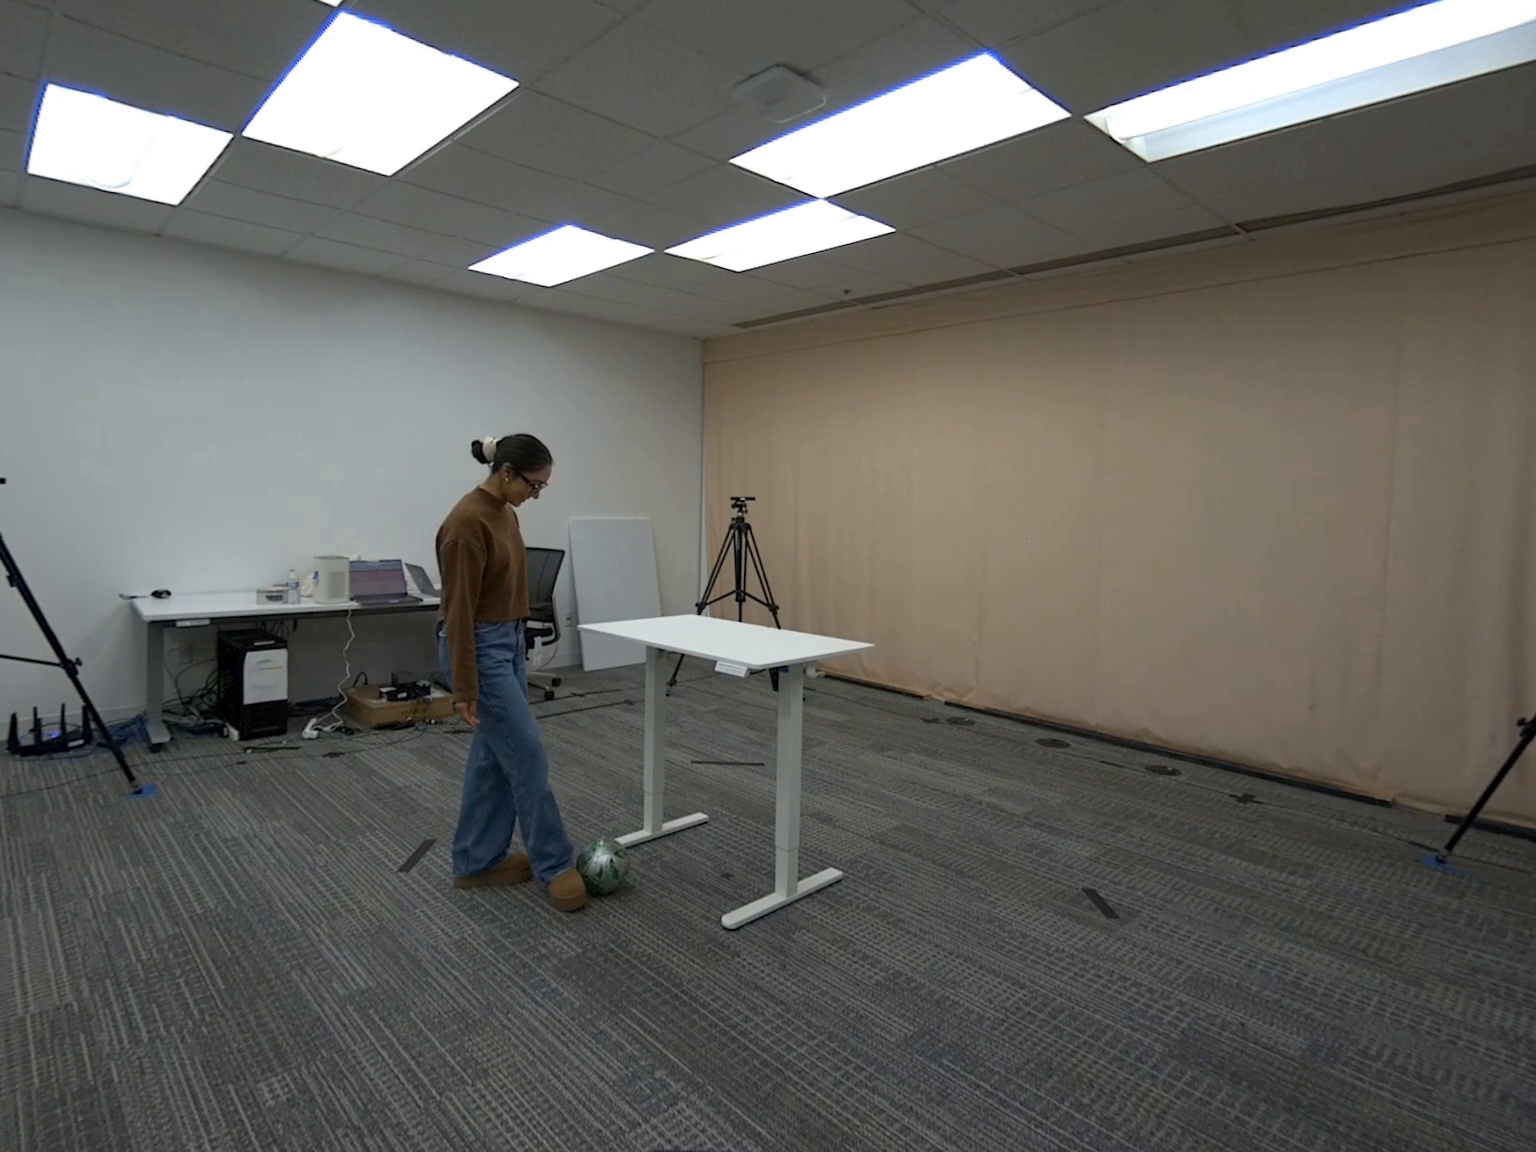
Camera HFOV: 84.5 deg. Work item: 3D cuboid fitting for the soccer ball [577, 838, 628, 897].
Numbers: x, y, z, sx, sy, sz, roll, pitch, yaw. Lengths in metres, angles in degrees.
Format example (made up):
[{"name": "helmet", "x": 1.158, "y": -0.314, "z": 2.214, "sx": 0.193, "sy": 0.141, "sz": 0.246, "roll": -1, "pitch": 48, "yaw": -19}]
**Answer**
[{"name": "soccer ball", "x": -0.582, "y": 1.021, "z": 2.965, "sx": 0.187, "sy": 0.187, "sz": 0.188, "roll": 1, "pitch": 4, "yaw": -1}]
